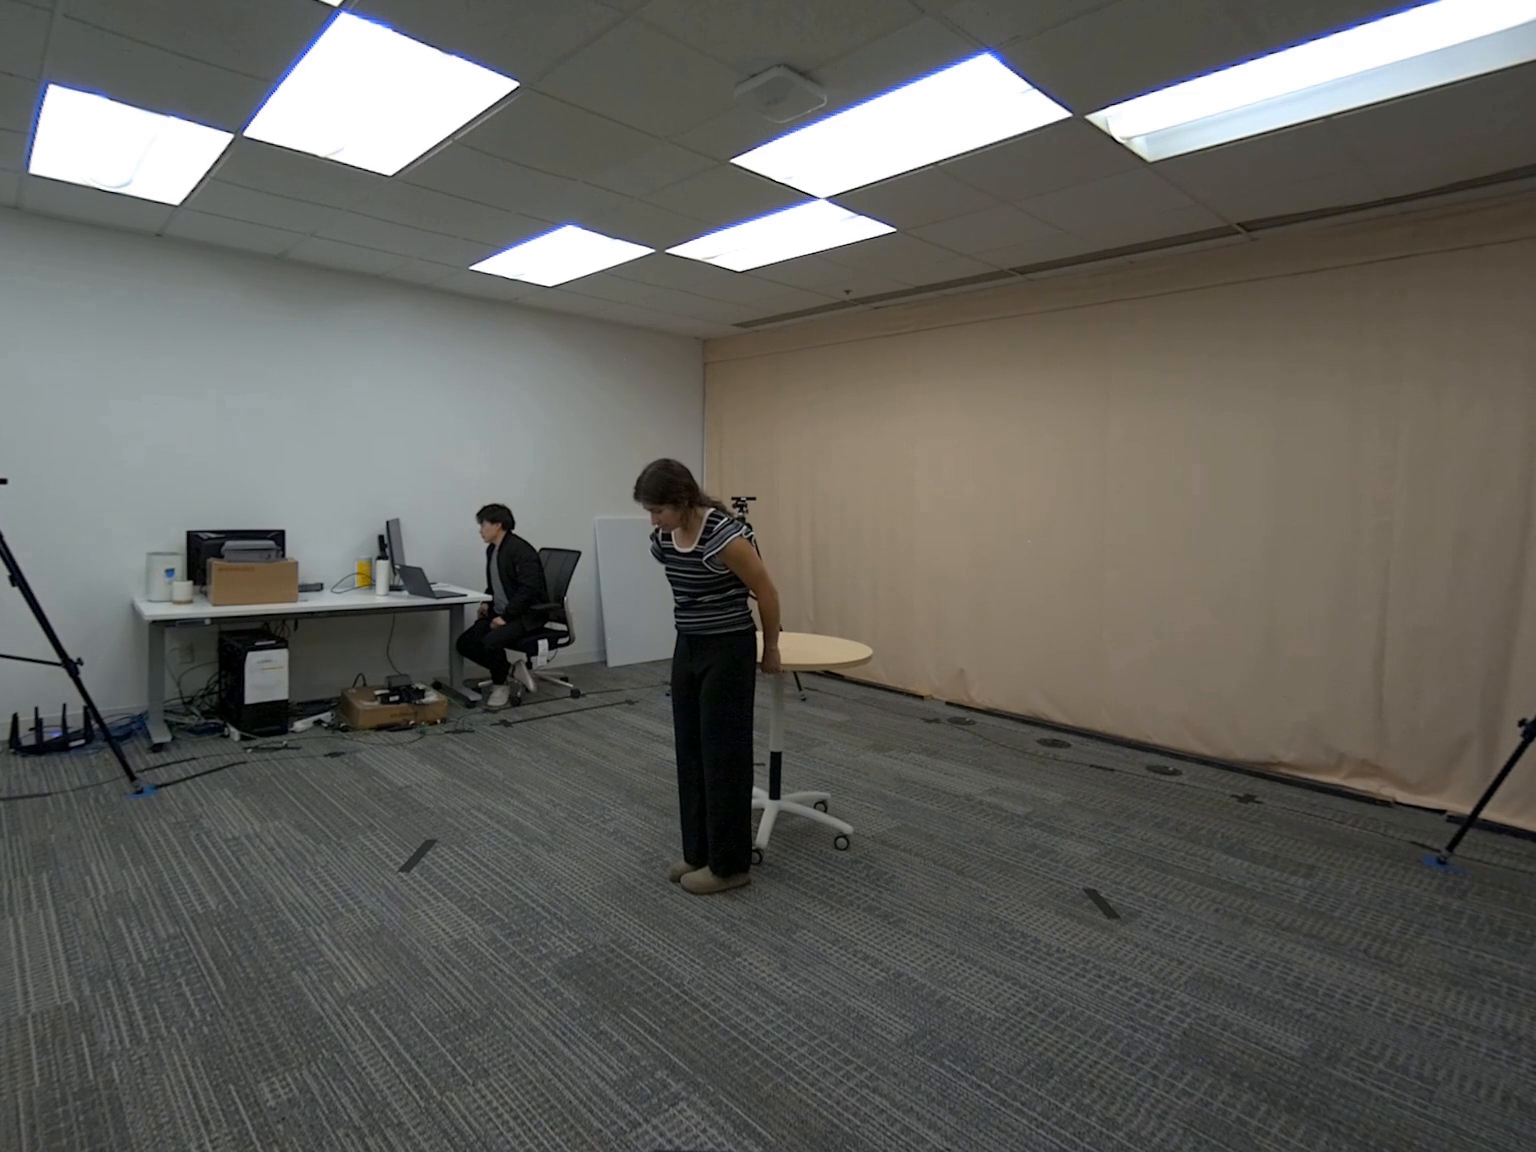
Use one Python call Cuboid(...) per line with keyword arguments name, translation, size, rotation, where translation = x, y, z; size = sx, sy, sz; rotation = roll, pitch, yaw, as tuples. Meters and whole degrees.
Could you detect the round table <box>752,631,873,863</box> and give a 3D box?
Cuboid(name="round table", translation=(0.016, 0.681, 3.510), size=(0.784, 0.785, 0.787), rotation=(2, 3, -1))
